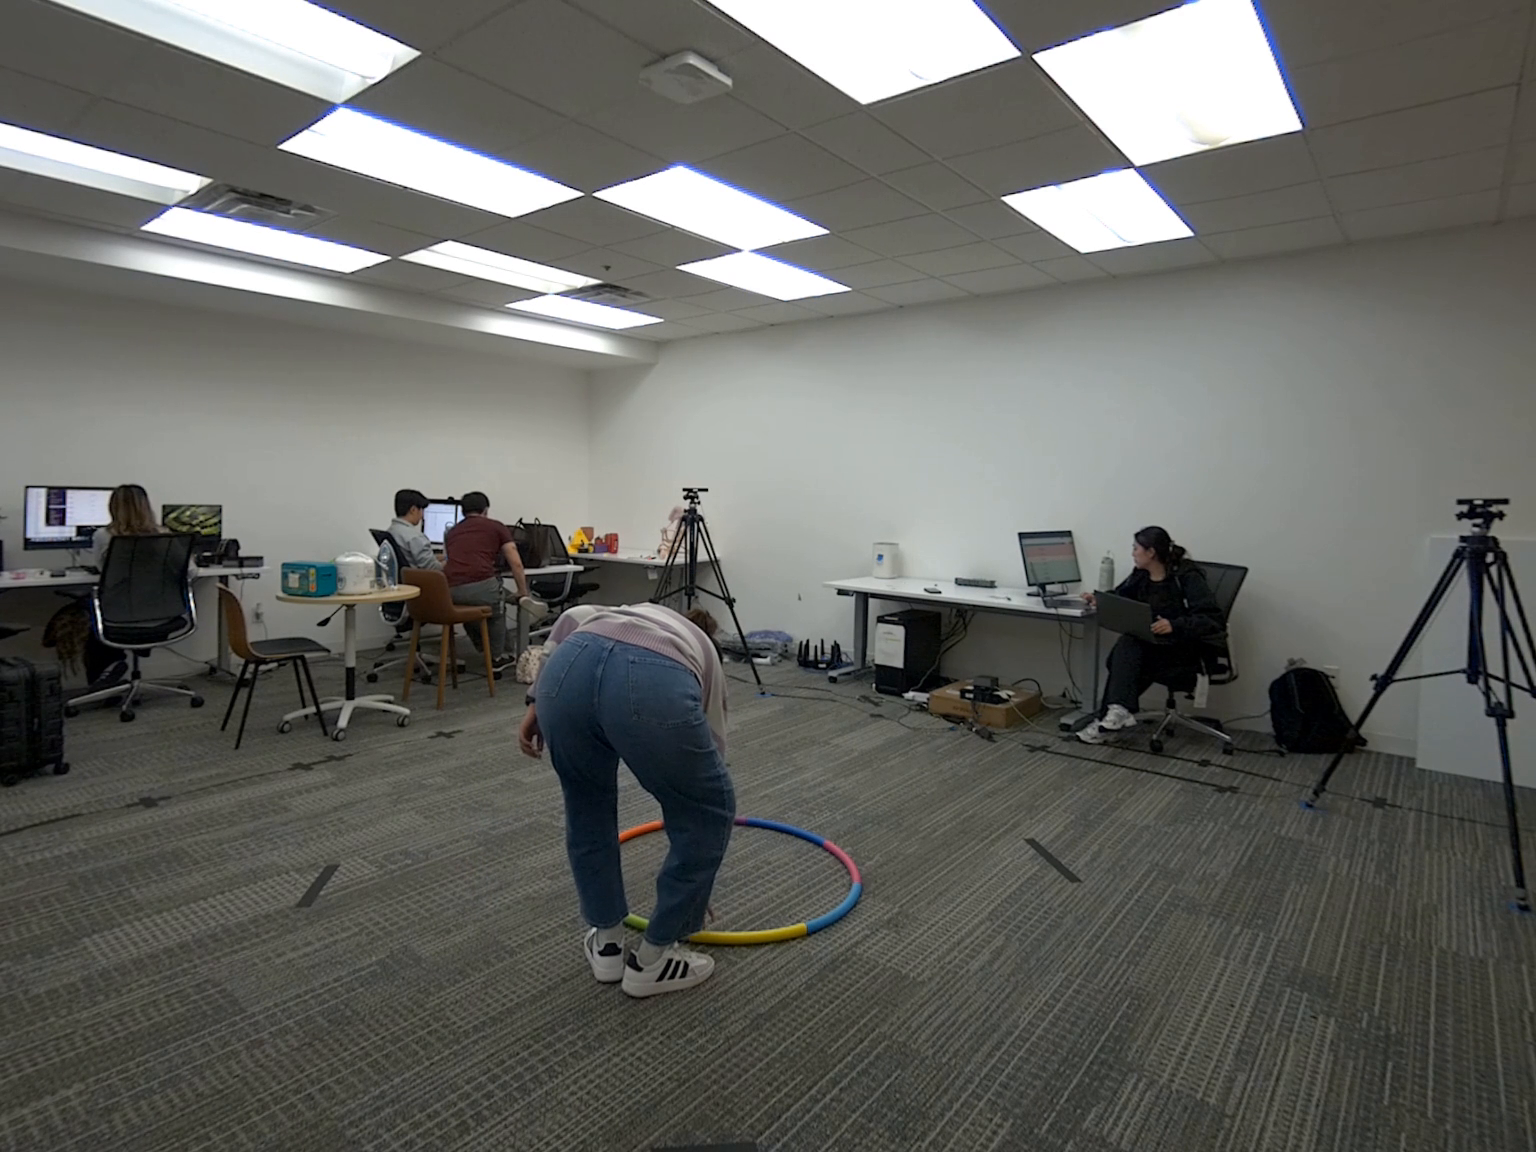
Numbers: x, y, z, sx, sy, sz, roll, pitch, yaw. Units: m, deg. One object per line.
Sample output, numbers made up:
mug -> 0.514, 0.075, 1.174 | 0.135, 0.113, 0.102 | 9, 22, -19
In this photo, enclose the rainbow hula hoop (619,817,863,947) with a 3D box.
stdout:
rainbow hula hoop -> -0.171, 1.041, 3.064 | 0.978, 0.035, 0.984 | 1, 6, -2
